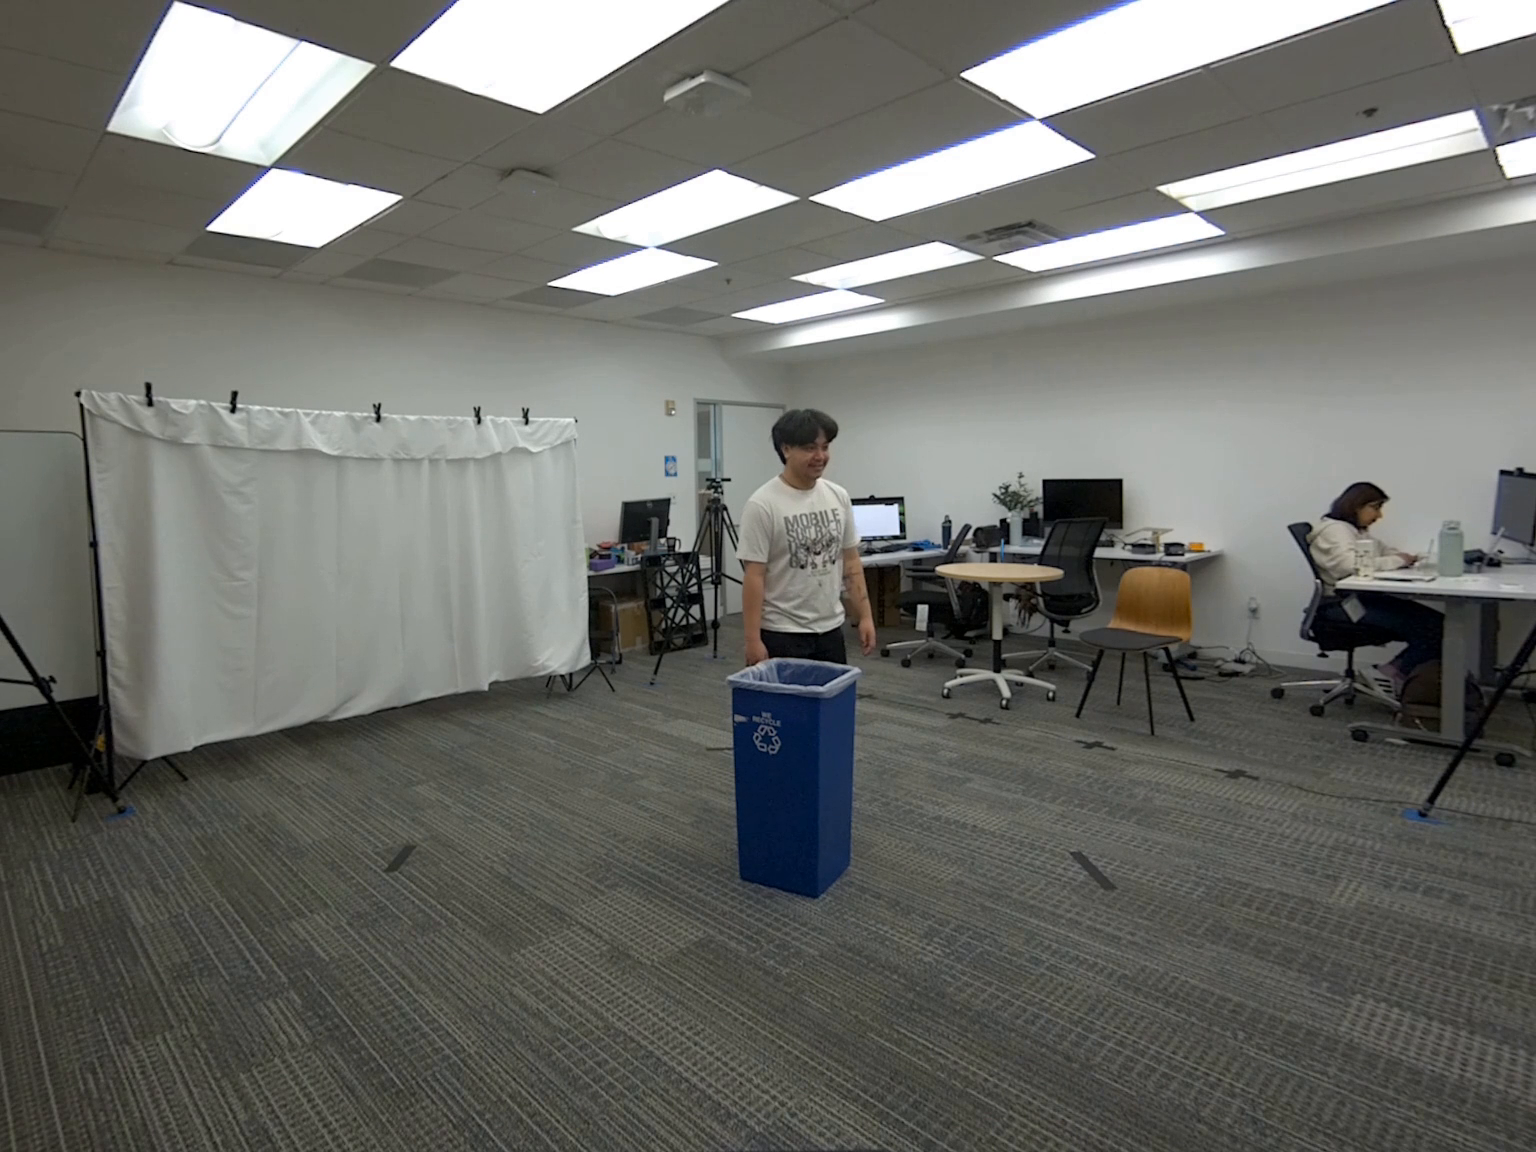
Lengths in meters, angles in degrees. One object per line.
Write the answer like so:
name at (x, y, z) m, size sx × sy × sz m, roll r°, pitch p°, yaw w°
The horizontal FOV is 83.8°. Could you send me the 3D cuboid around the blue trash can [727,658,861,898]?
blue trash can at (0.104, 0.692, 3.011) m, size 0.384 × 0.711 × 0.370 m, roll 1°, pitch 5°, yaw 29°
